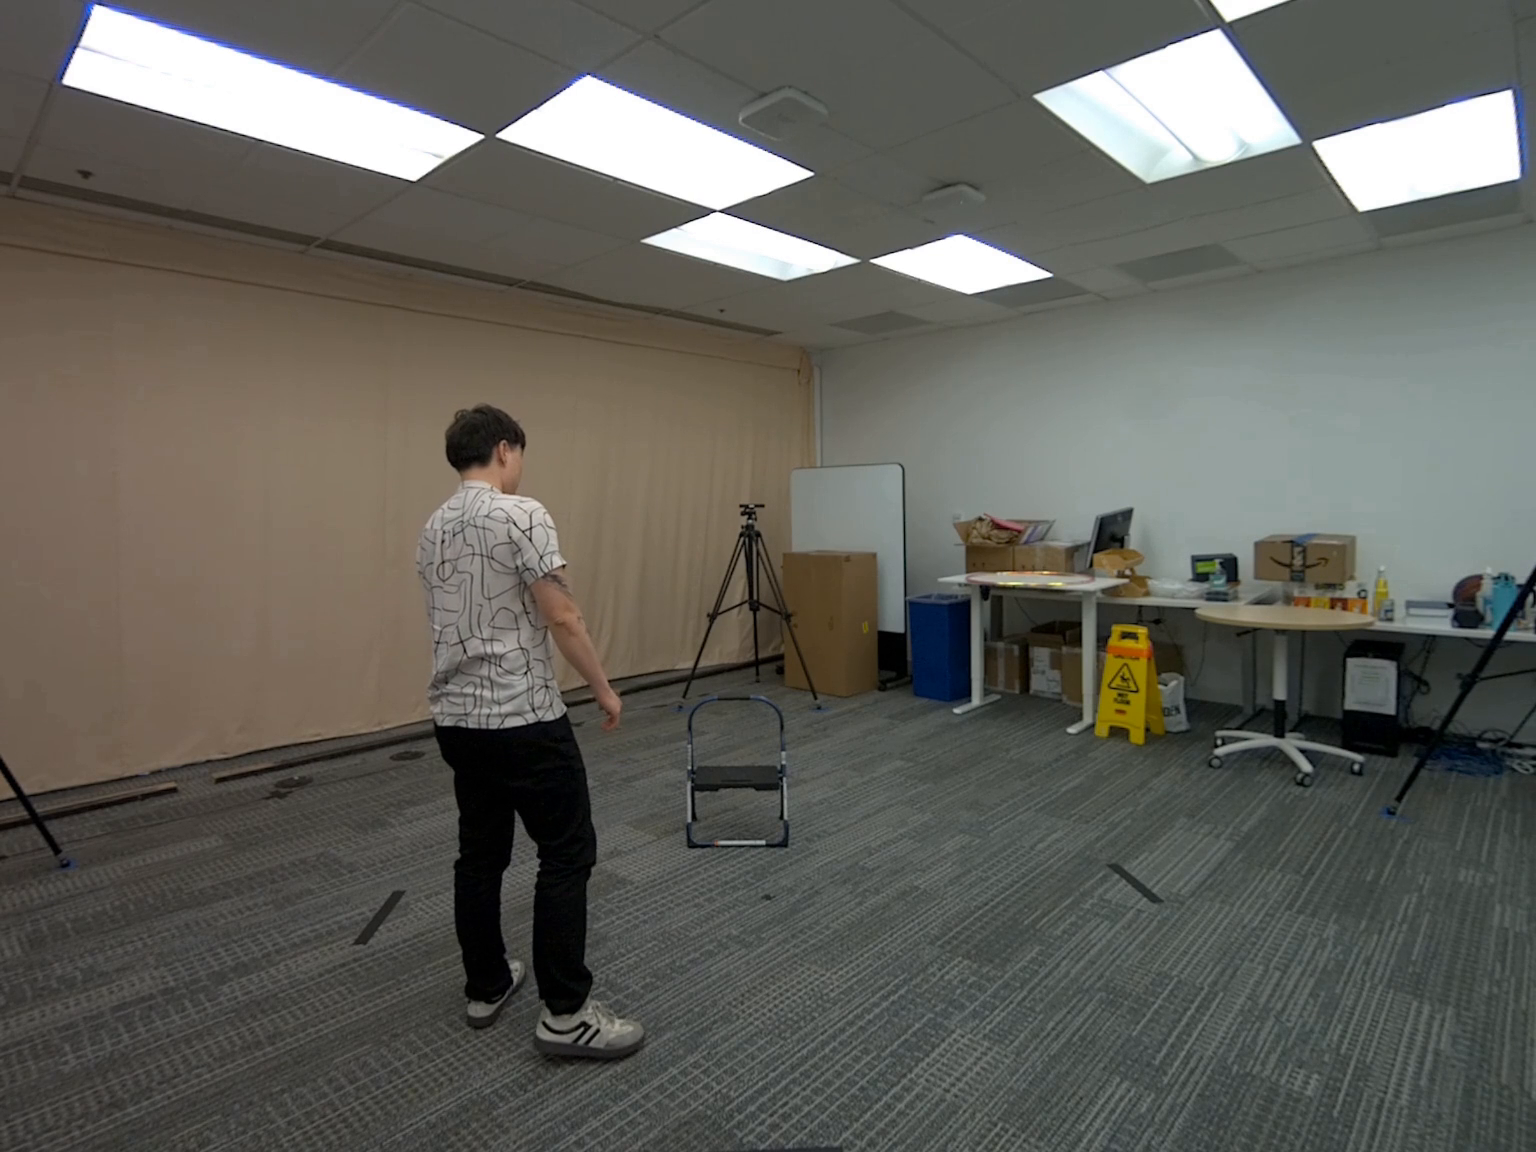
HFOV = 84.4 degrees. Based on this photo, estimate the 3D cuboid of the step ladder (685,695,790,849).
[{"bbox_3d":[-0.132,0.794,3.571,0.431,0.605,0.350,-1,2,0],"label":"step ladder"}]
